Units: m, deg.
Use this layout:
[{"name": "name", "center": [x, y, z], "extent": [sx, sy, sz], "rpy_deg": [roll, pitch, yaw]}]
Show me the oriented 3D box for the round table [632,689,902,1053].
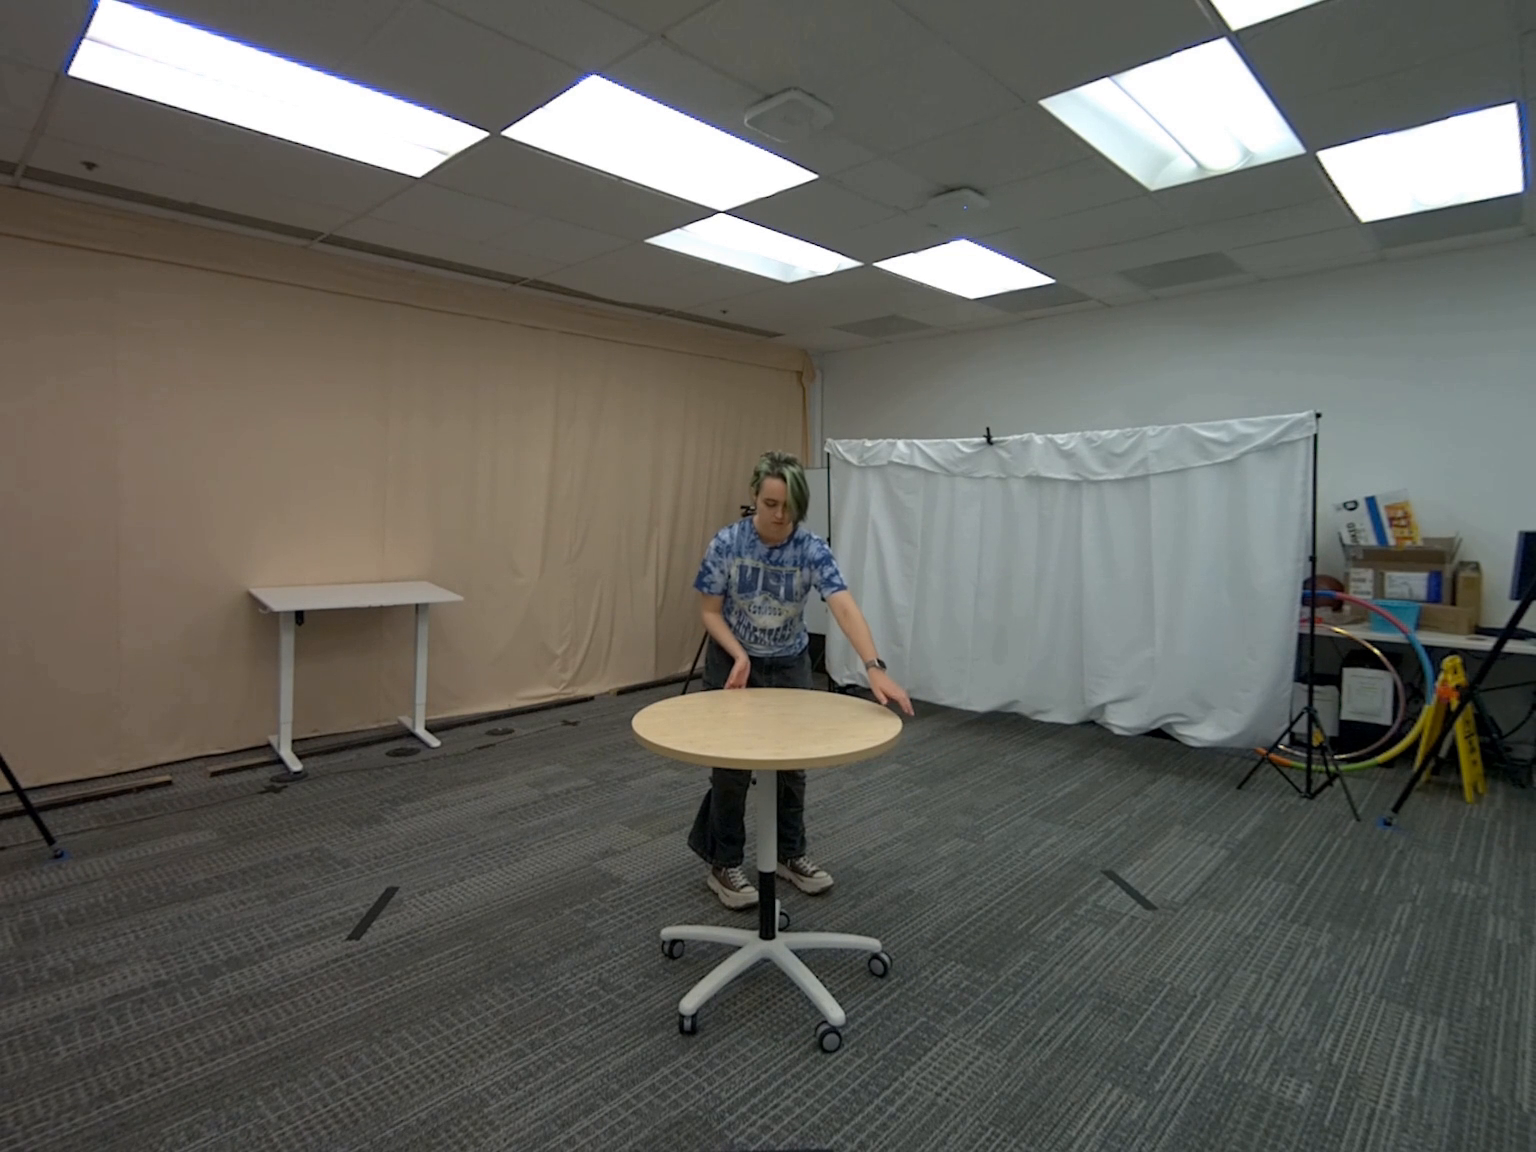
[{"name": "round table", "center": [0.000, 0.801, 2.432], "extent": [0.763, 0.792, 0.767], "rpy_deg": [-1, 4, -2]}]
